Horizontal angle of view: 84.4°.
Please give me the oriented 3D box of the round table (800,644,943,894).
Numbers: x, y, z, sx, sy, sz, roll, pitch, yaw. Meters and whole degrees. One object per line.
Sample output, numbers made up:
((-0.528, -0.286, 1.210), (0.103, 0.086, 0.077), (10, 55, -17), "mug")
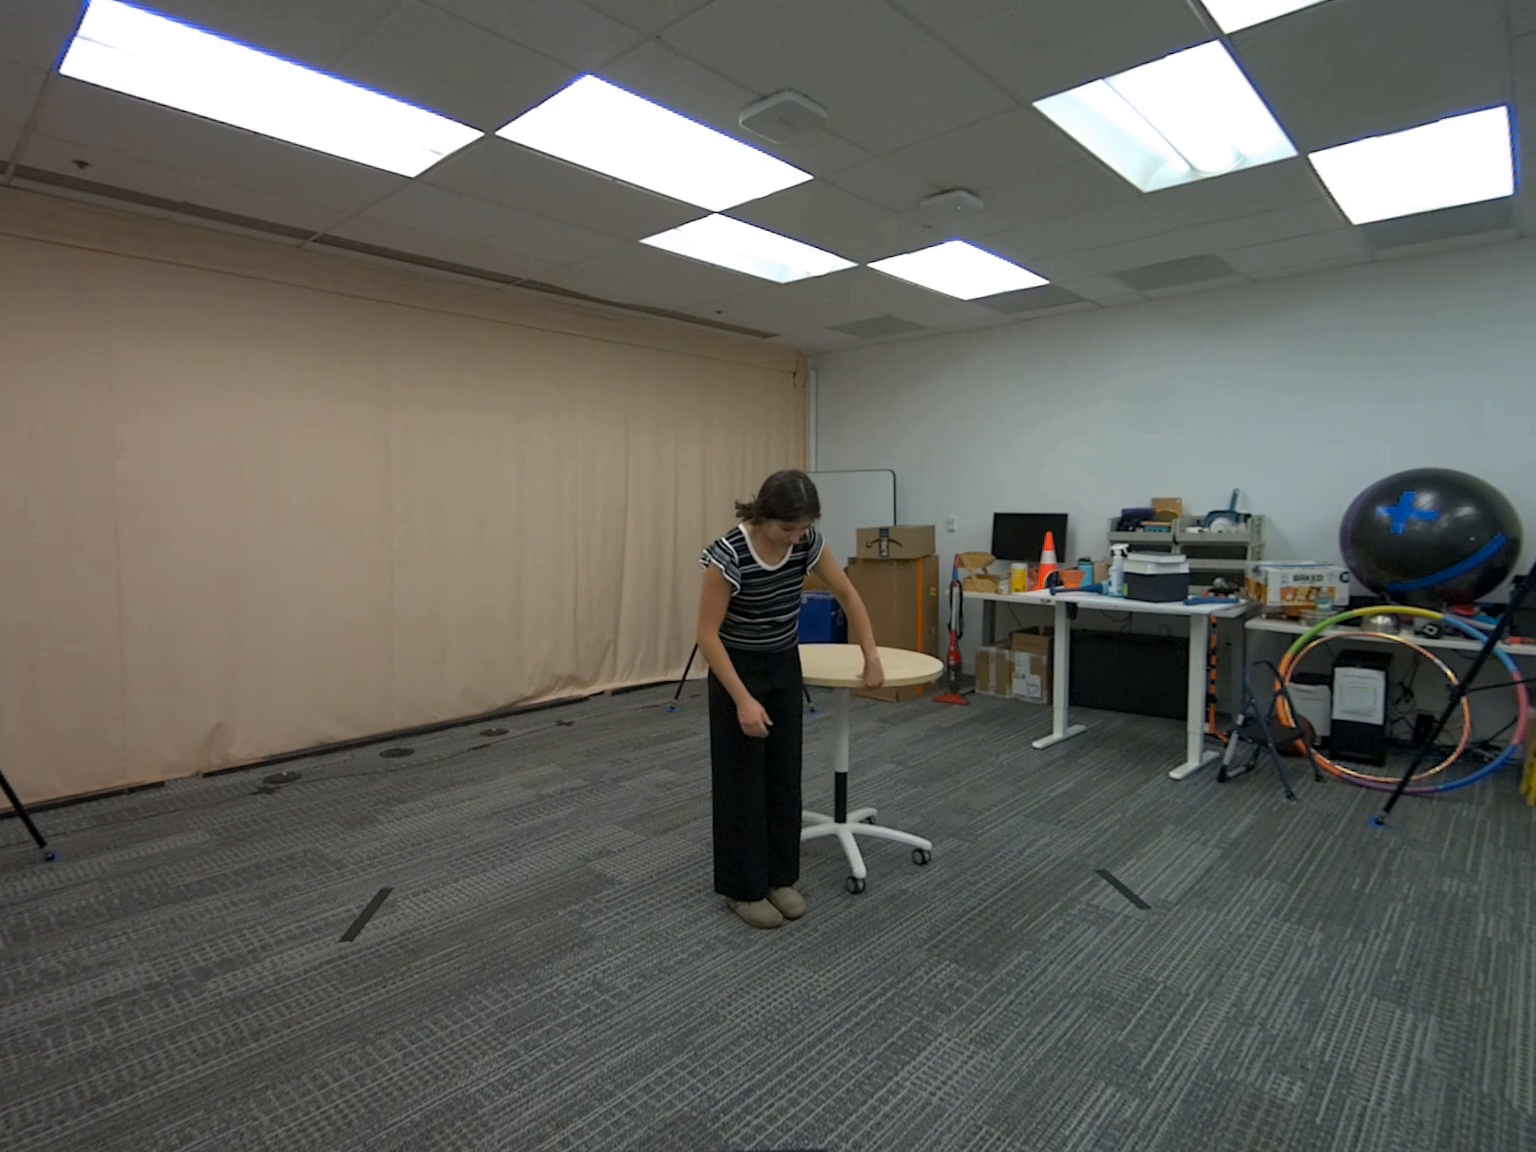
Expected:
((0.289, 0.721, 3.313), (0.784, 0.785, 0.787), (0, 3, -2), "round table")
